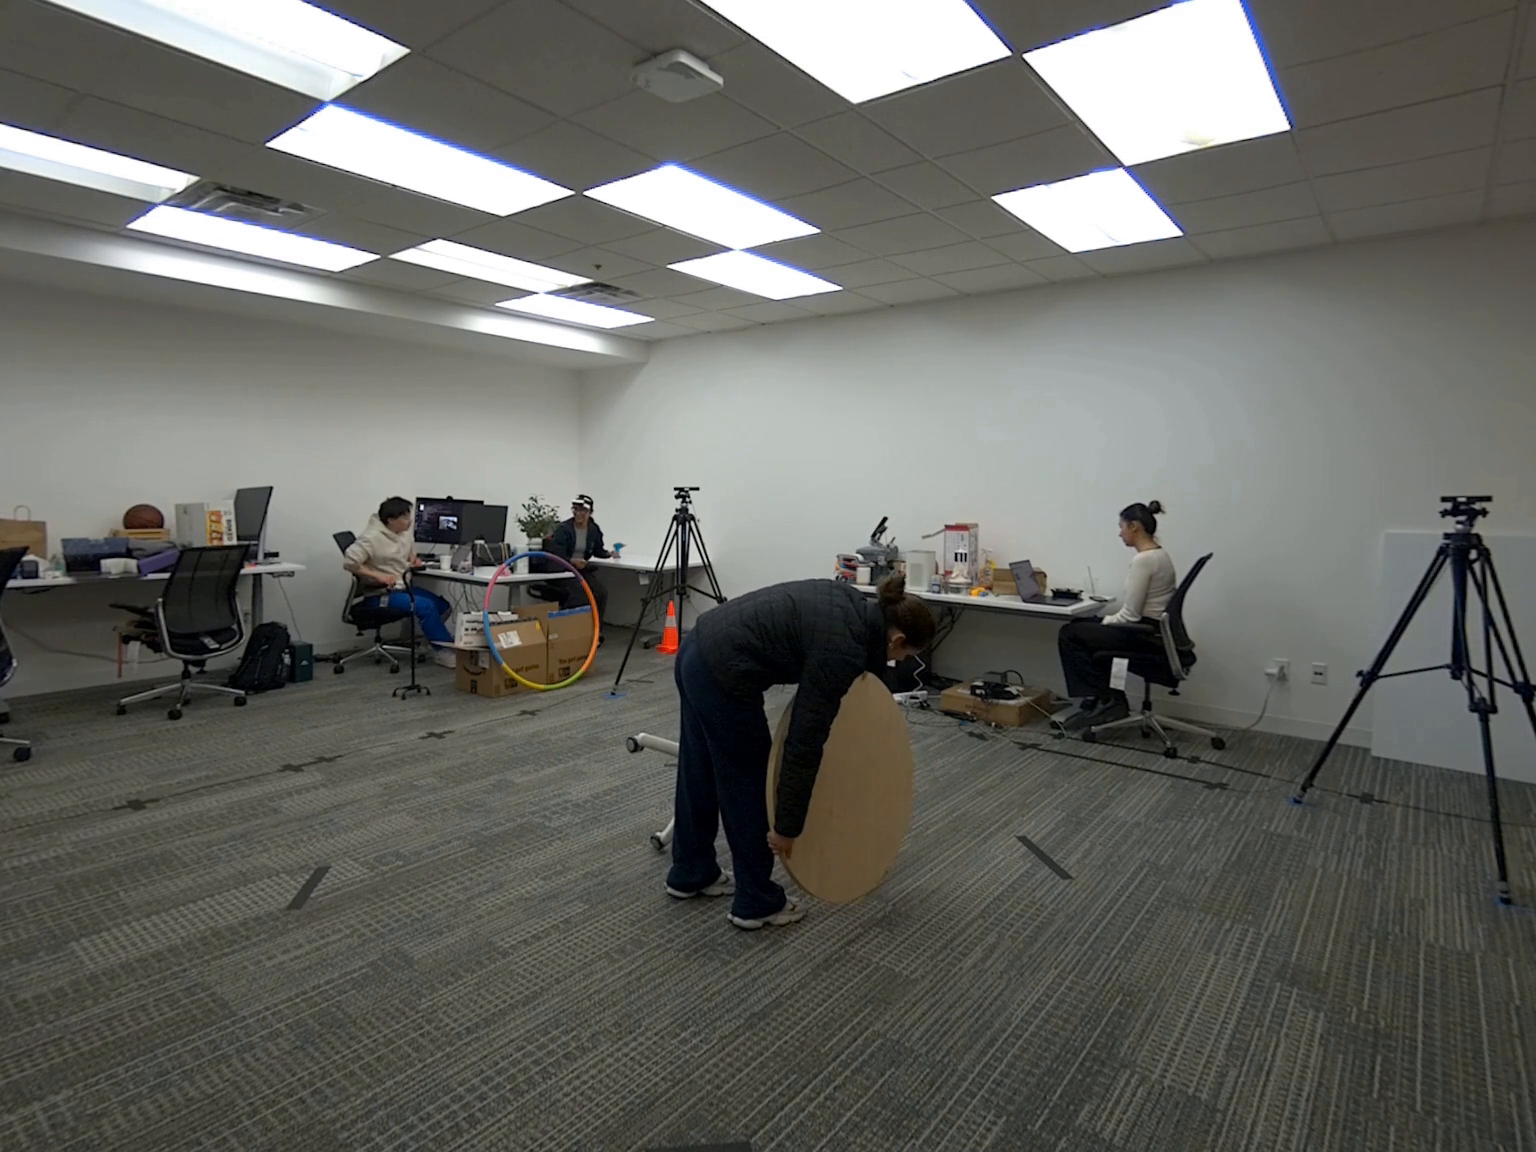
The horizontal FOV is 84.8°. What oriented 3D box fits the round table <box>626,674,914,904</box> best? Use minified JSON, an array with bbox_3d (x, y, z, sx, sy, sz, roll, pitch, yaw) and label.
[{"bbox_3d":[0.006,0.712,3.171,0.809,0.787,0.761,-6,-2,45],"label":"round table"}]
